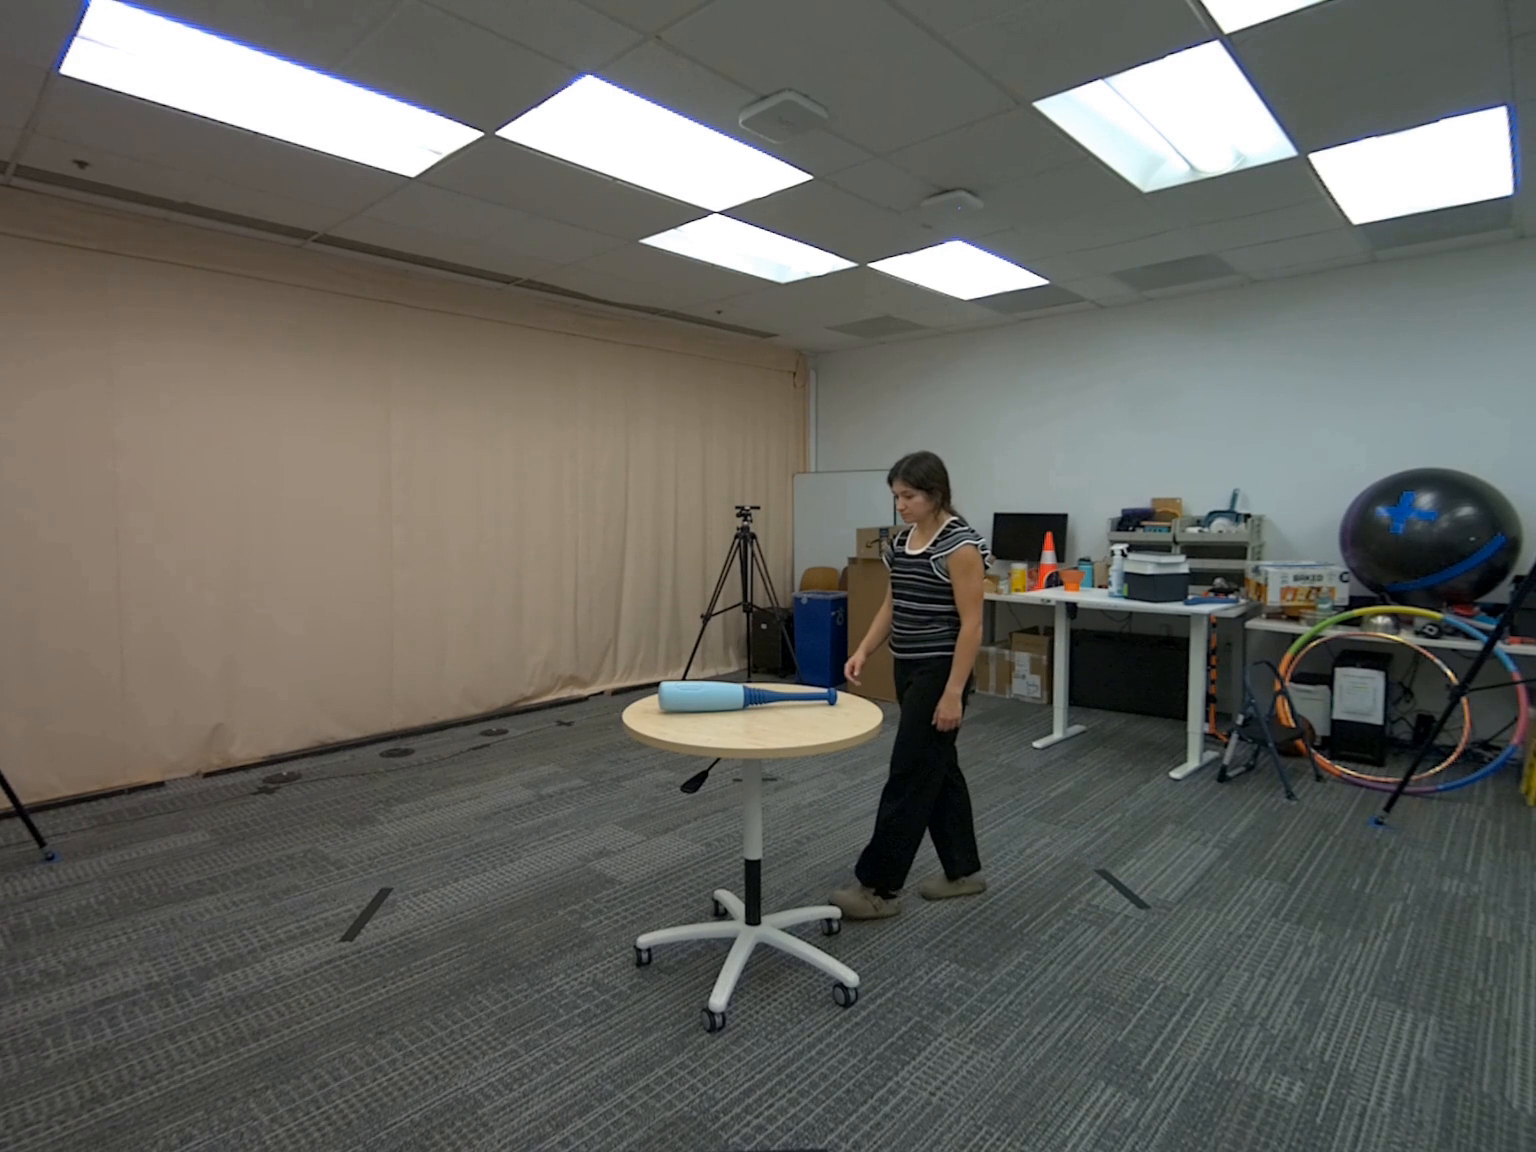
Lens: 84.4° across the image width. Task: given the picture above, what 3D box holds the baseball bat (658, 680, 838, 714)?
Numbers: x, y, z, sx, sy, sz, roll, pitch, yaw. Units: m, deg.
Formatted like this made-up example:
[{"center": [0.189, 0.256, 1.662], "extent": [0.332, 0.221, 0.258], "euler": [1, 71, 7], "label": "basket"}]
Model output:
[{"center": [-0.055, 0.364, 2.519], "extent": [0.538, 0.089, 0.090], "euler": [1, 3, -8], "label": "baseball bat"}]
